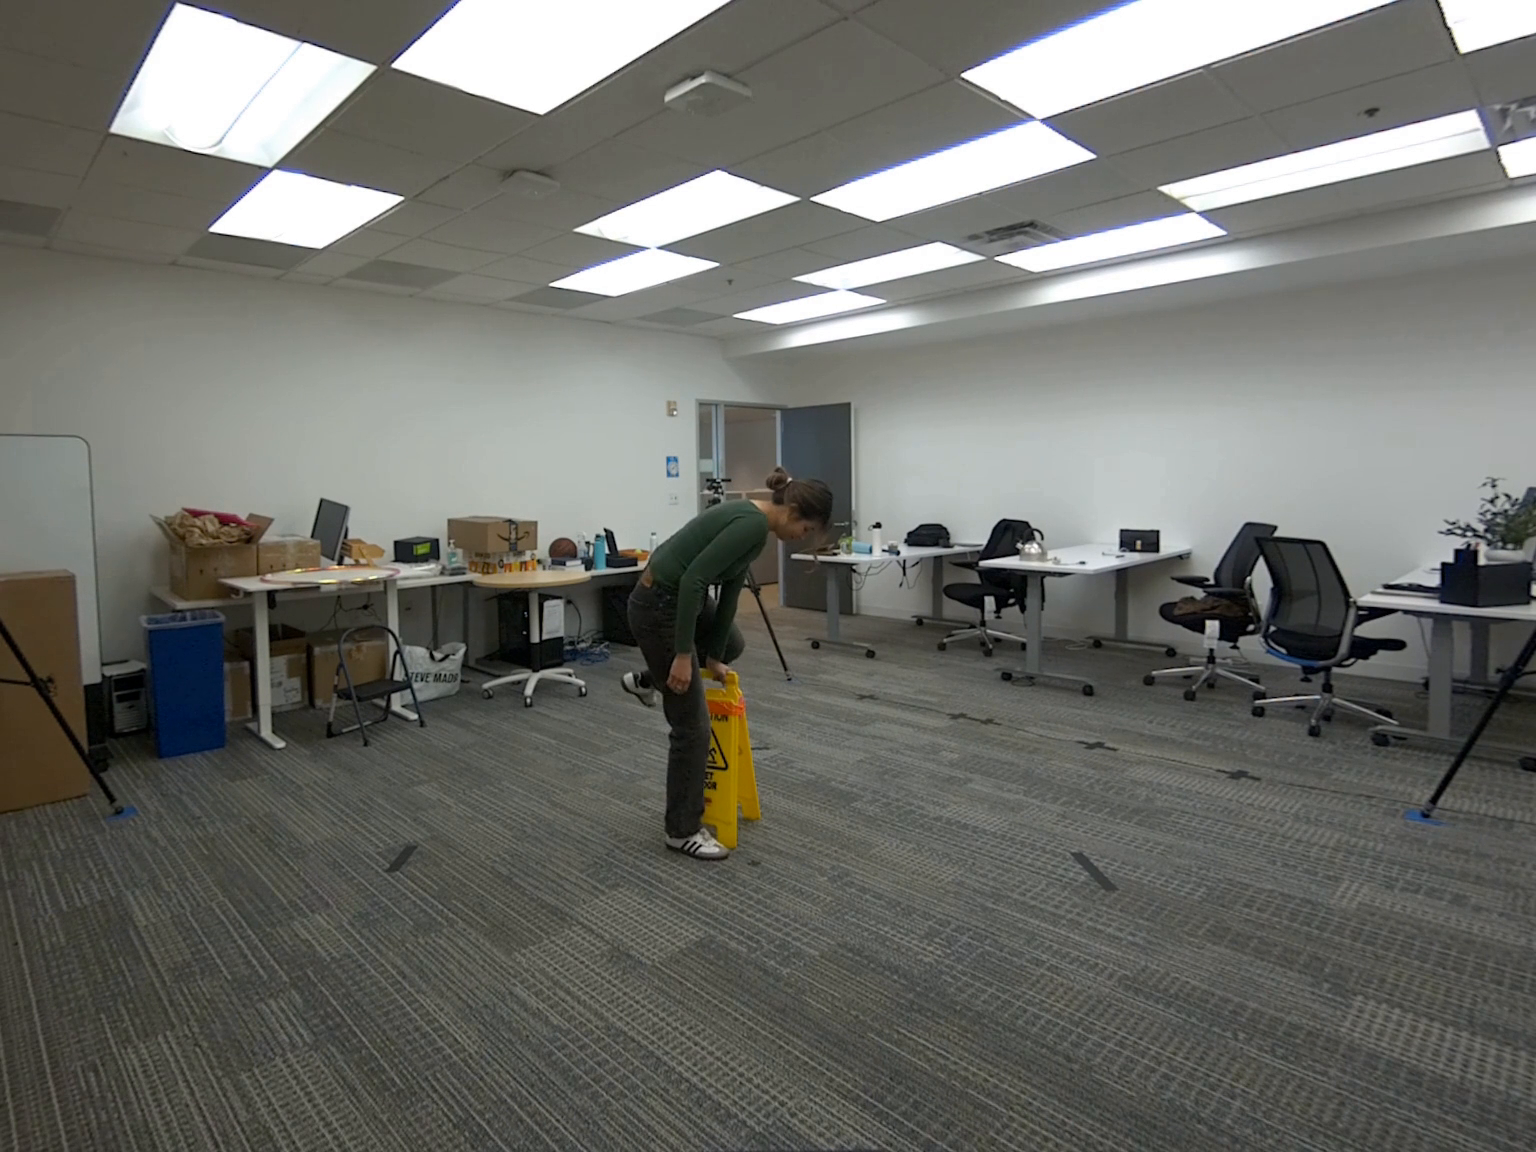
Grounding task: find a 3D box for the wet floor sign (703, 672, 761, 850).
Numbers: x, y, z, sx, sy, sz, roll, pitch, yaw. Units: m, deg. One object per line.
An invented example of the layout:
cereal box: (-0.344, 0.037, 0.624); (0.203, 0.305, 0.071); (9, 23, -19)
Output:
wet floor sign: (-0.213, 0.689, 3.399); (0.288, 0.643, 0.285); (0, 5, 20)
